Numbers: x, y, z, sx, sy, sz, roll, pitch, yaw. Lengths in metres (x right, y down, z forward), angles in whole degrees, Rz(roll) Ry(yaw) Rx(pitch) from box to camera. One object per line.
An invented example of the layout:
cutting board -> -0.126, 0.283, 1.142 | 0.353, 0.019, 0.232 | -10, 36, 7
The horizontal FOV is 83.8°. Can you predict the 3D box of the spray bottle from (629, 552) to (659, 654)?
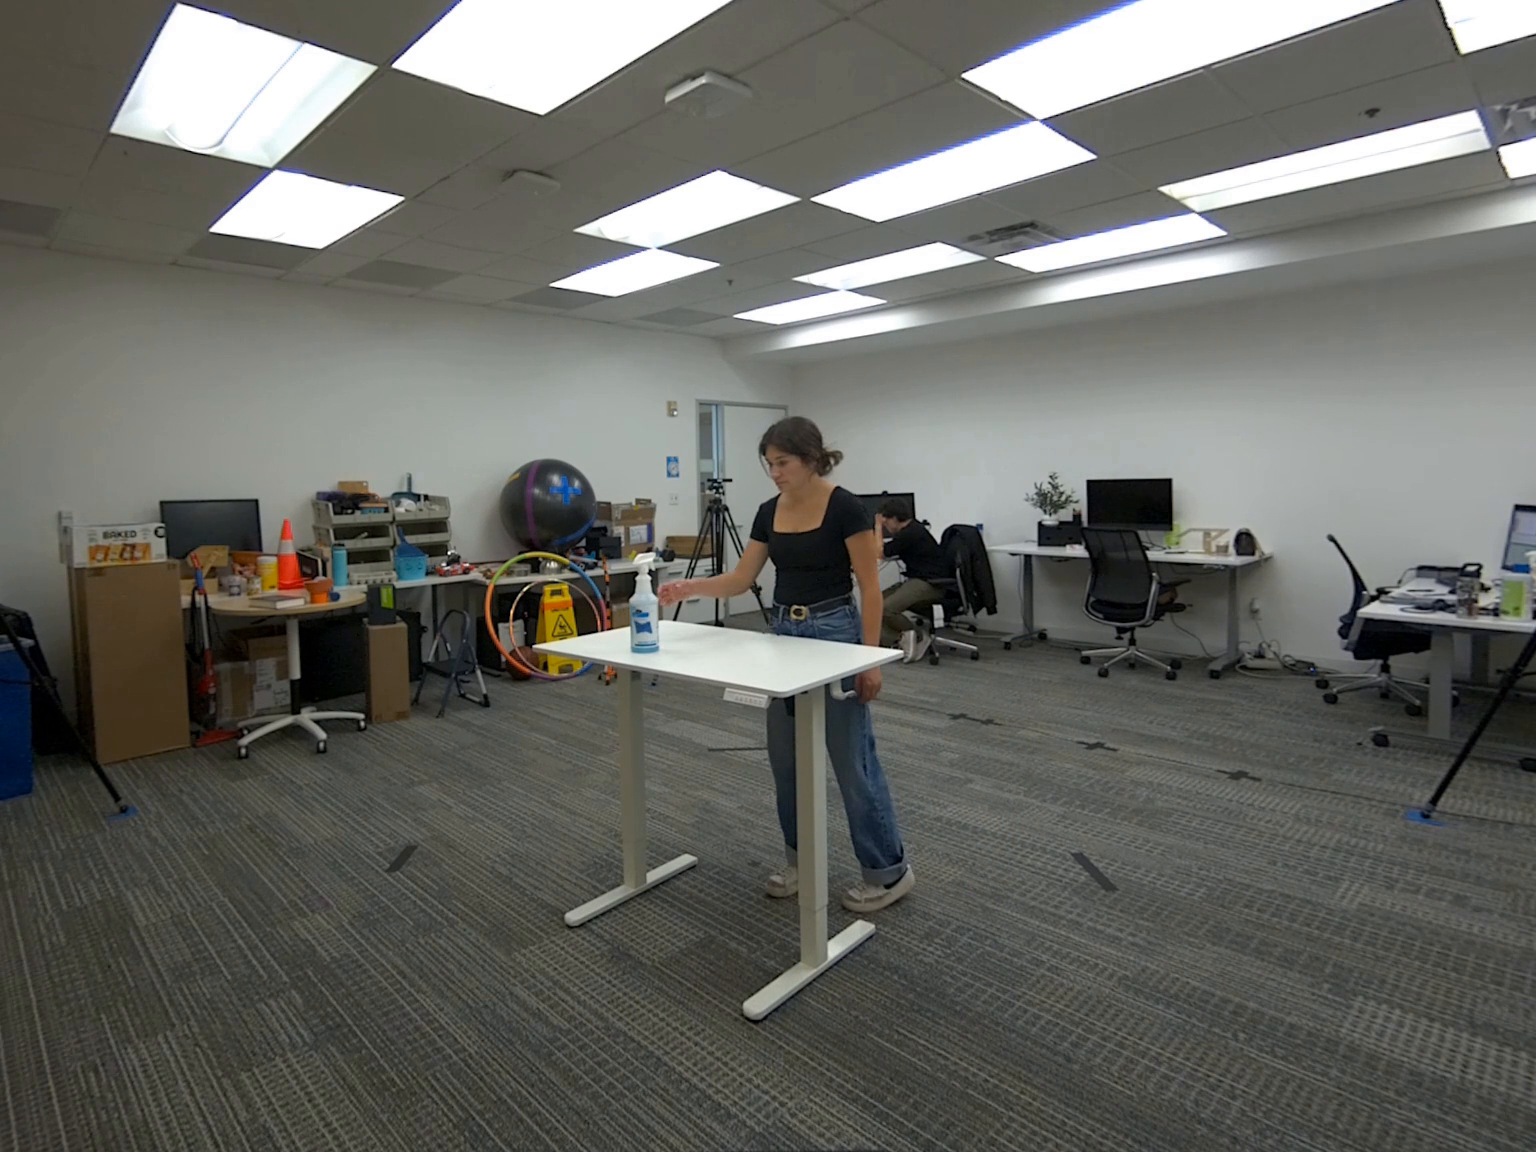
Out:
spray bottle -> -0.377, 0.083, 2.591 | 0.088, 0.296, 0.089 | -2, 3, -27
